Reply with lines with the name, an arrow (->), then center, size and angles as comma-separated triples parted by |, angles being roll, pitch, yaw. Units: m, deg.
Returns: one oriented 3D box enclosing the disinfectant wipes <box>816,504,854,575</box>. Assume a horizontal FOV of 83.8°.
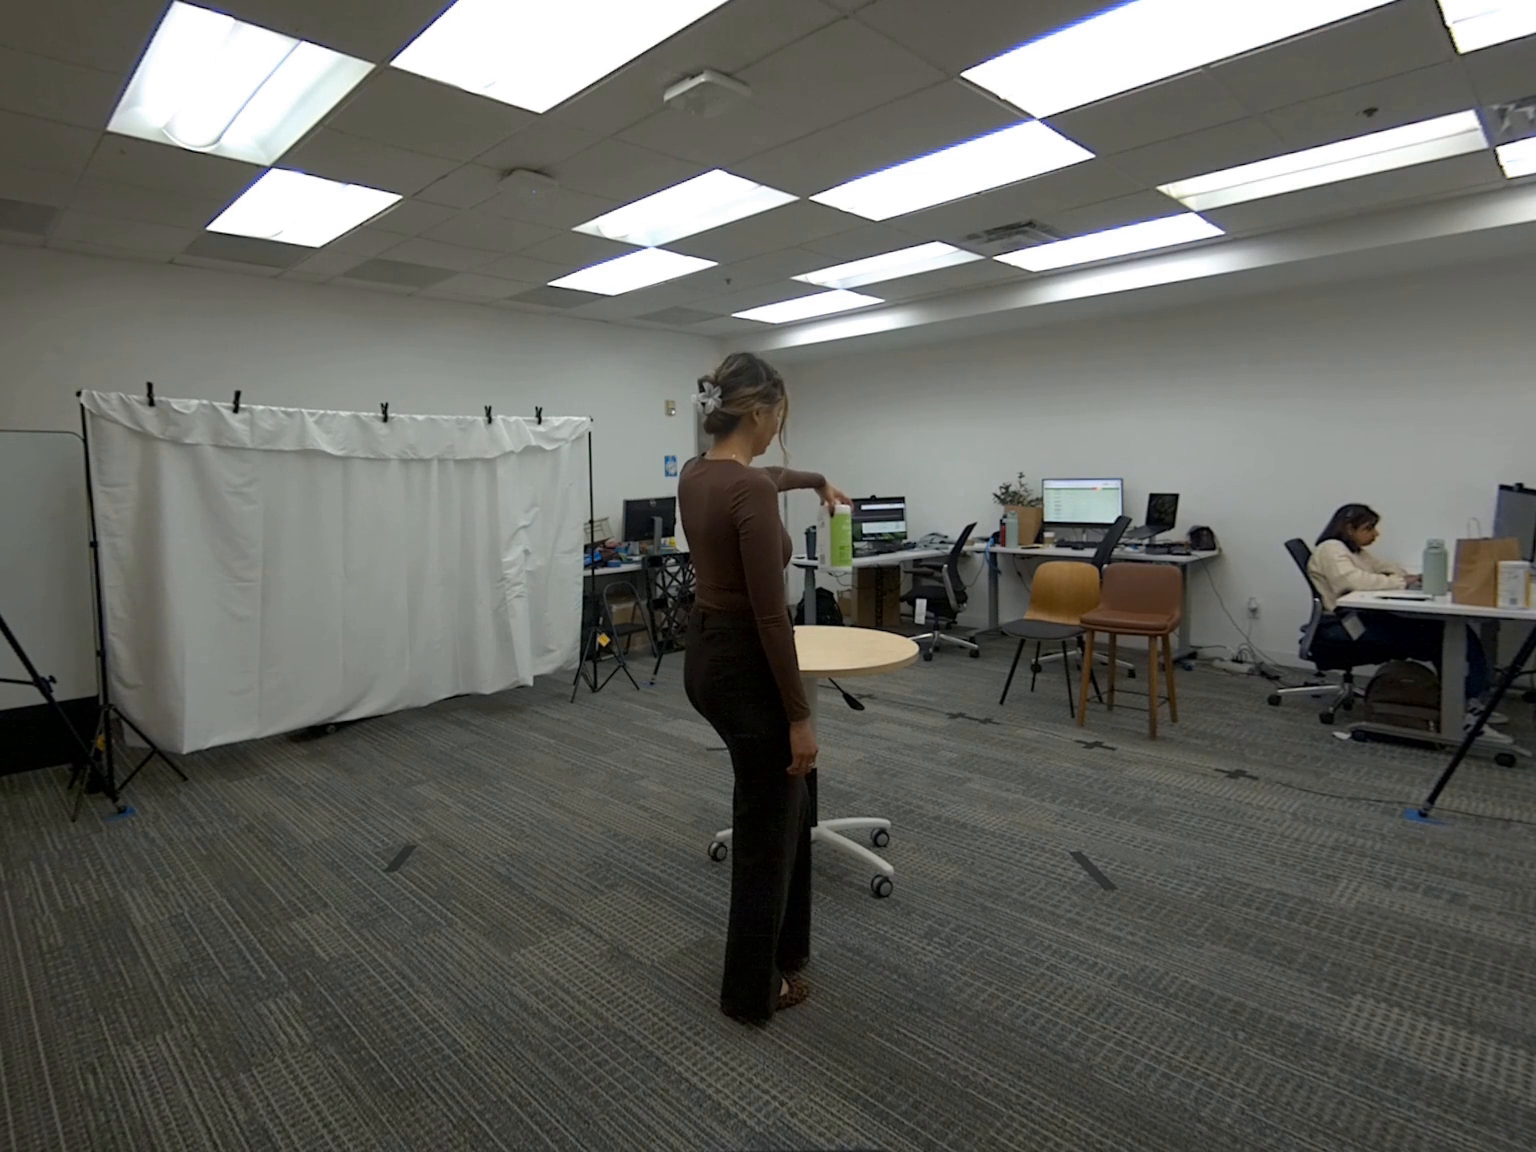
disinfectant wipes -> 0.218, -0.118, 2.748 | 0.118, 0.217, 0.118 | -1, 0, -2
